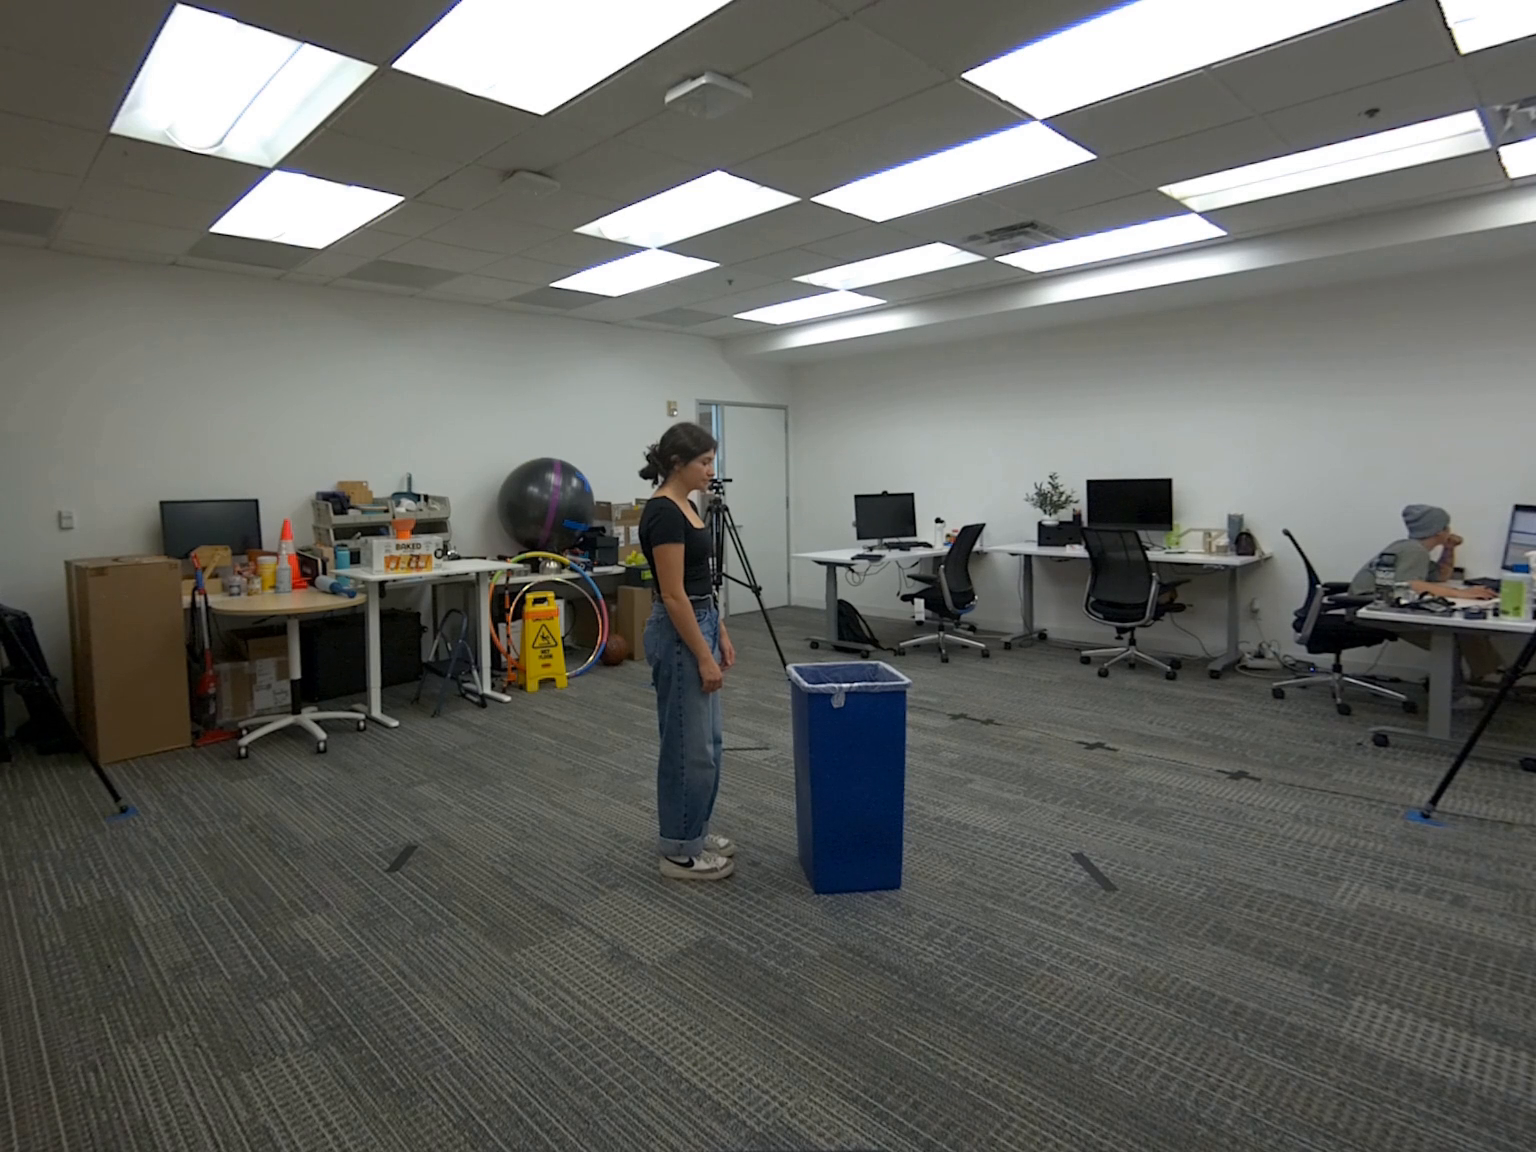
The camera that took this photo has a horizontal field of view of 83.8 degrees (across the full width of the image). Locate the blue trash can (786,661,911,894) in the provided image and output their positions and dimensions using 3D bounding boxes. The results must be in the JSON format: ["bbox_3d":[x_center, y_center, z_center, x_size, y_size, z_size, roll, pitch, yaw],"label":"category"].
[{"bbox_3d":[0.273,0.692,3.005,0.375,0.711,0.378,-1,4,-8],"label":"blue trash can"}]
